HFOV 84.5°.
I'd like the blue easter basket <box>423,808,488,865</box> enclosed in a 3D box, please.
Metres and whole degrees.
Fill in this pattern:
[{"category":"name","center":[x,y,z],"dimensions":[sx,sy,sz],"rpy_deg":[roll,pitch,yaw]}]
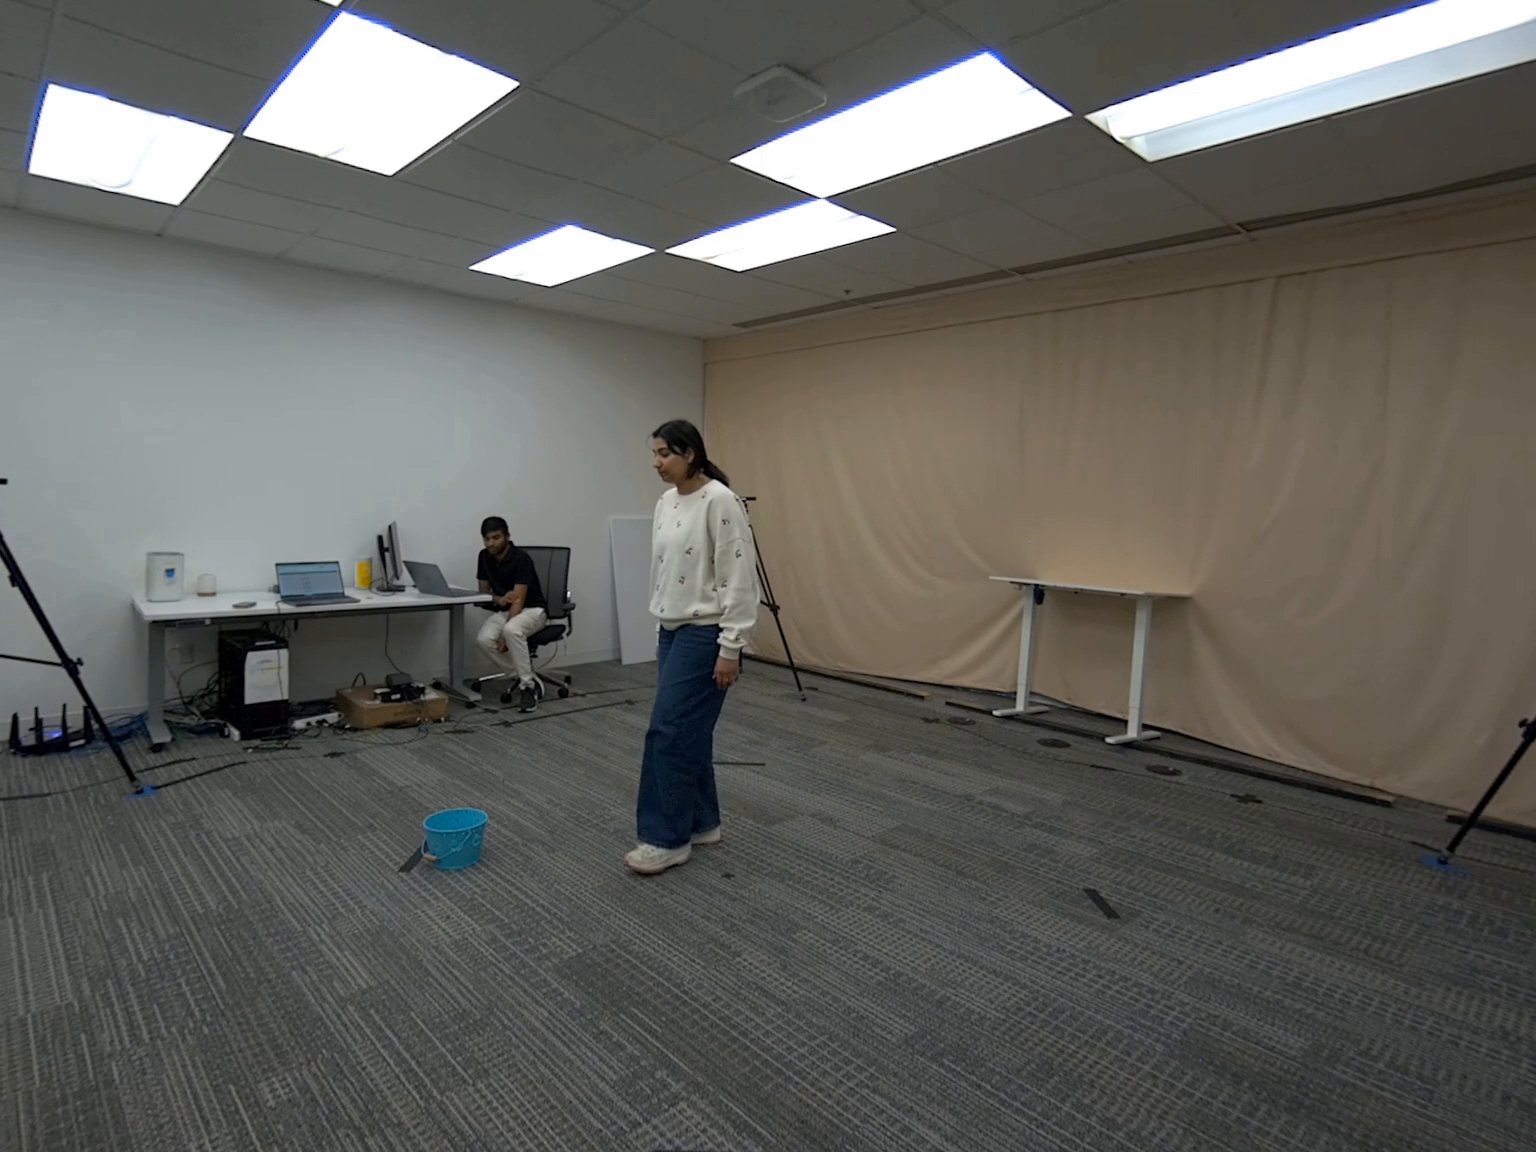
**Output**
[{"category":"blue easter basket","center":[-1.184,0.999,3.192],"dimensions":[0.243,0.155,0.245],"rpy_deg":[1,6,-2]}]
